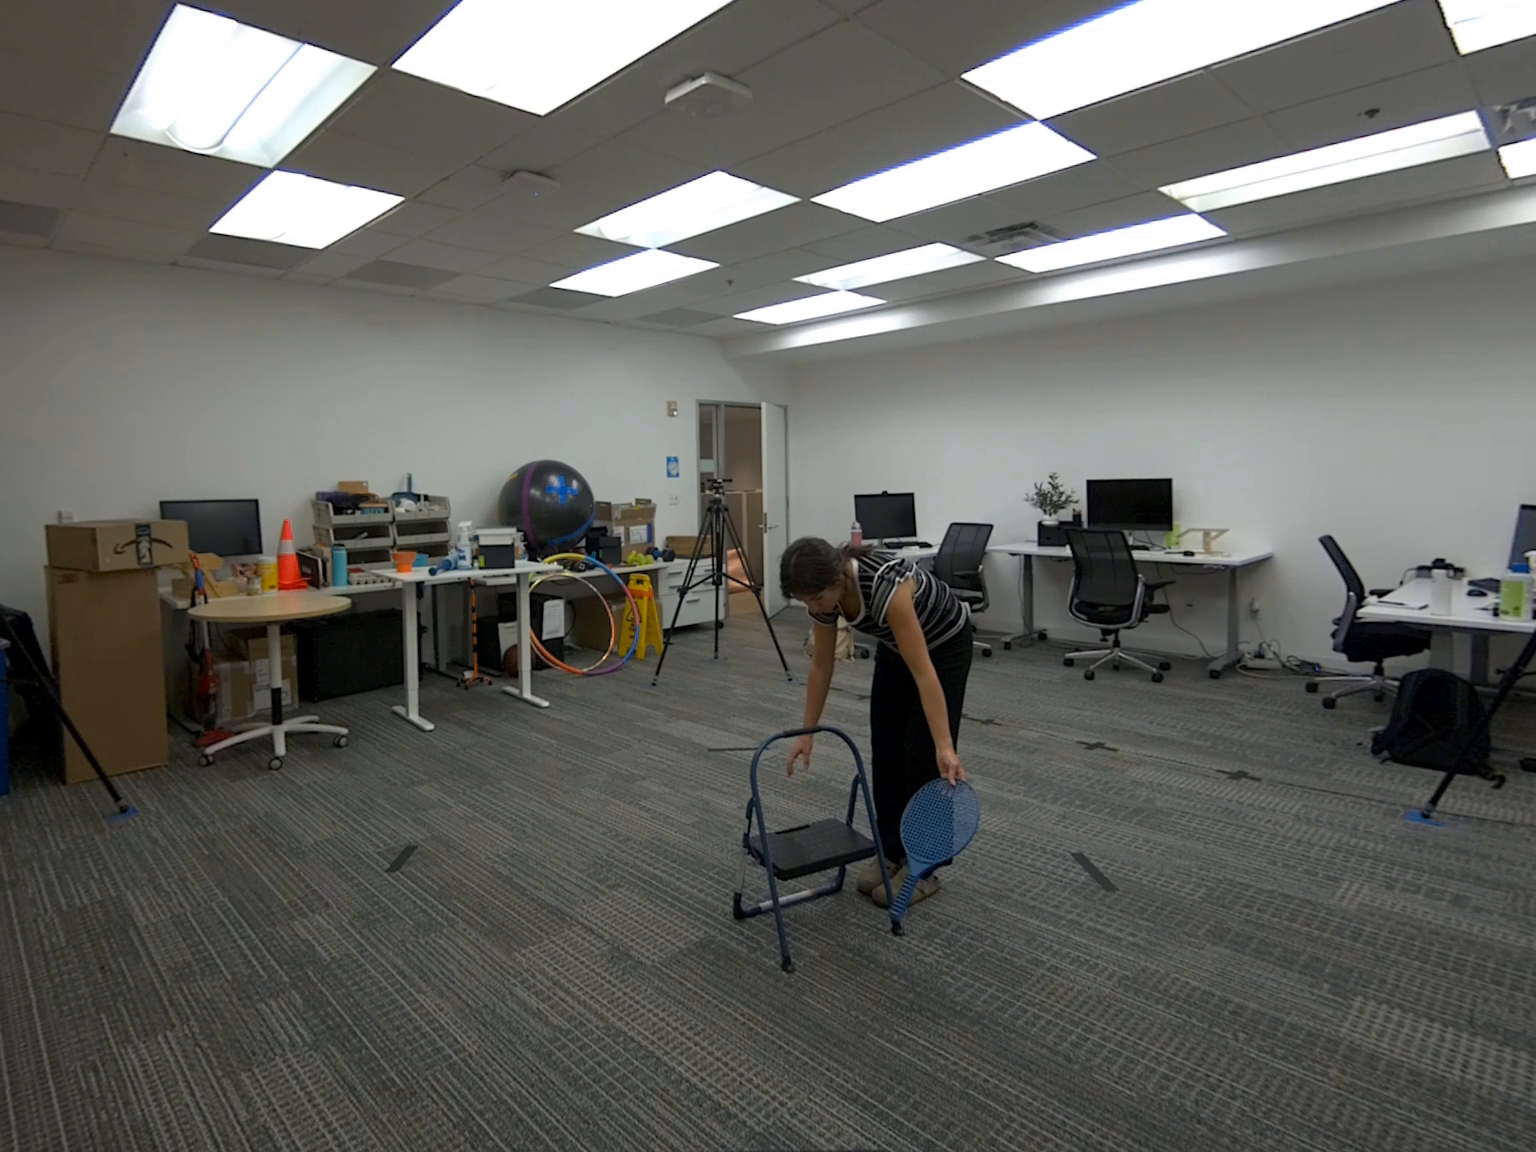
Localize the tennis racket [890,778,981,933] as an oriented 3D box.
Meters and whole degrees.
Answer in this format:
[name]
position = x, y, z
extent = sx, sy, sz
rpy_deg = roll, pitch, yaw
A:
[tennis racket]
position = 0.415, 0.734, 2.341
extent = 0.220, 0.031, 0.435
rpy_deg = 2, 49, 44
